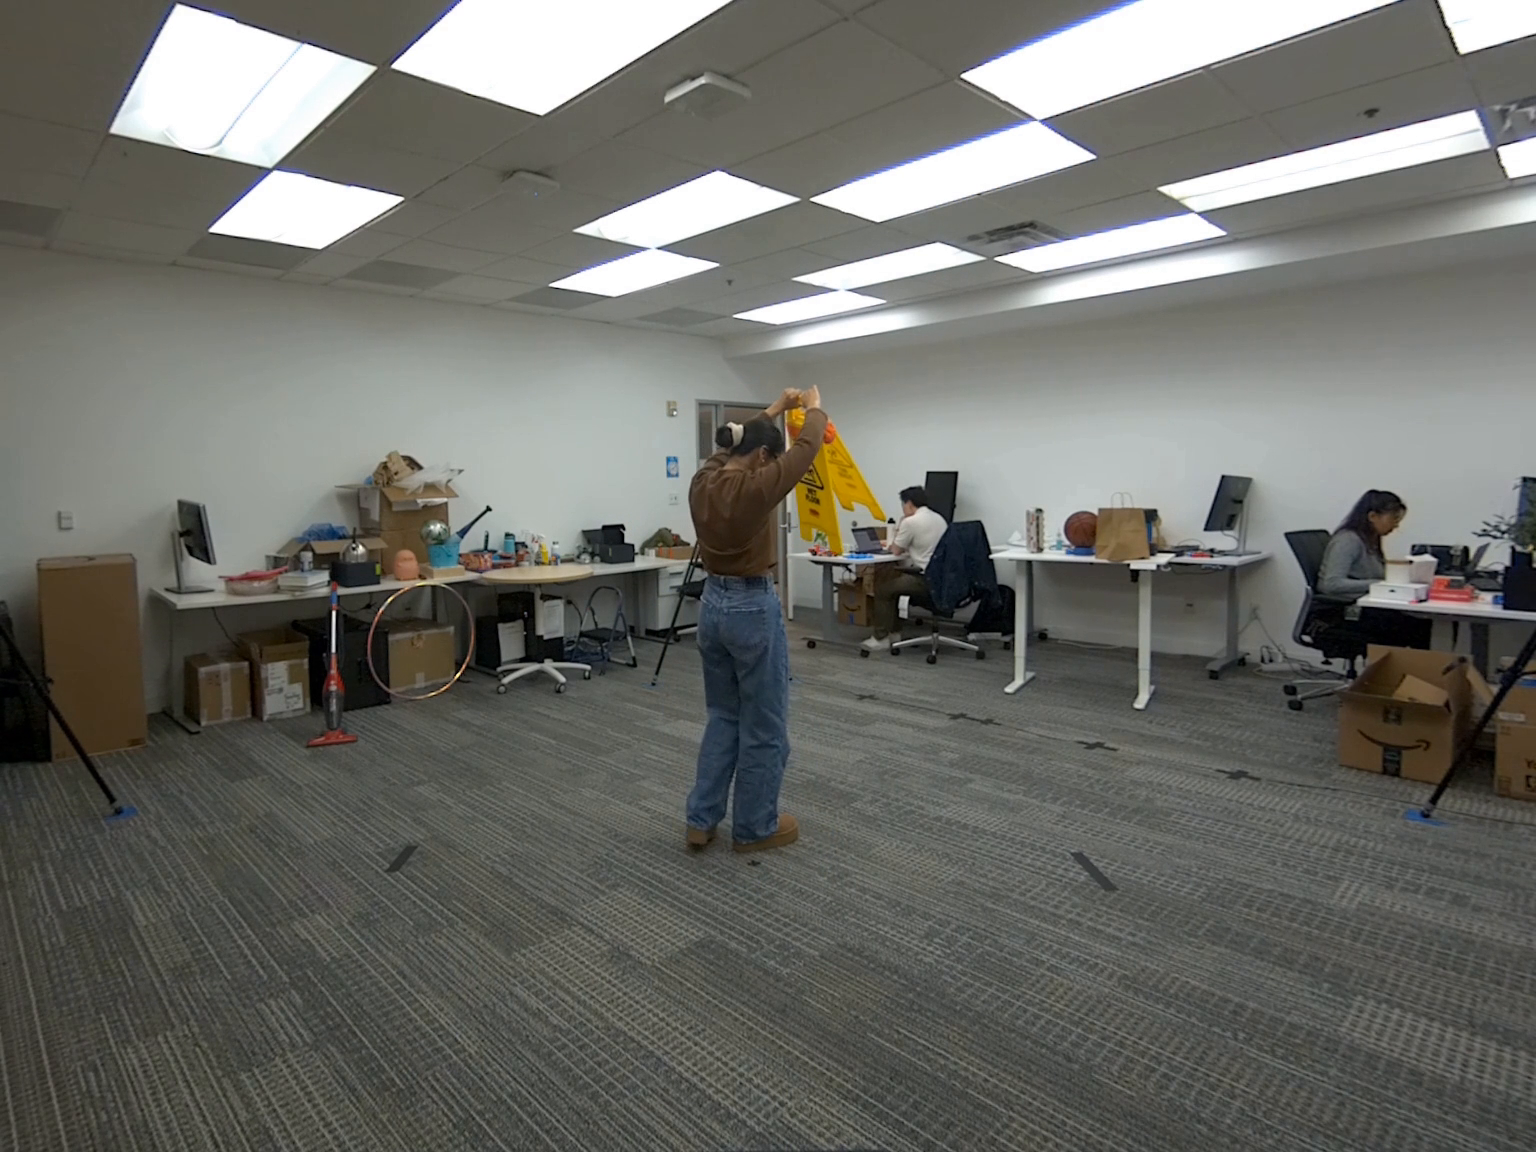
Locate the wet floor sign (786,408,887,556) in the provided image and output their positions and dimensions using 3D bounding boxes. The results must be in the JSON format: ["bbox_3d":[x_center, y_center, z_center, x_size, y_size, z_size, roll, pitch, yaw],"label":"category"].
[{"bbox_3d":[0.230,-0.455,3.535,0.288,0.627,0.292,-33,31,-22],"label":"wet floor sign"}]
